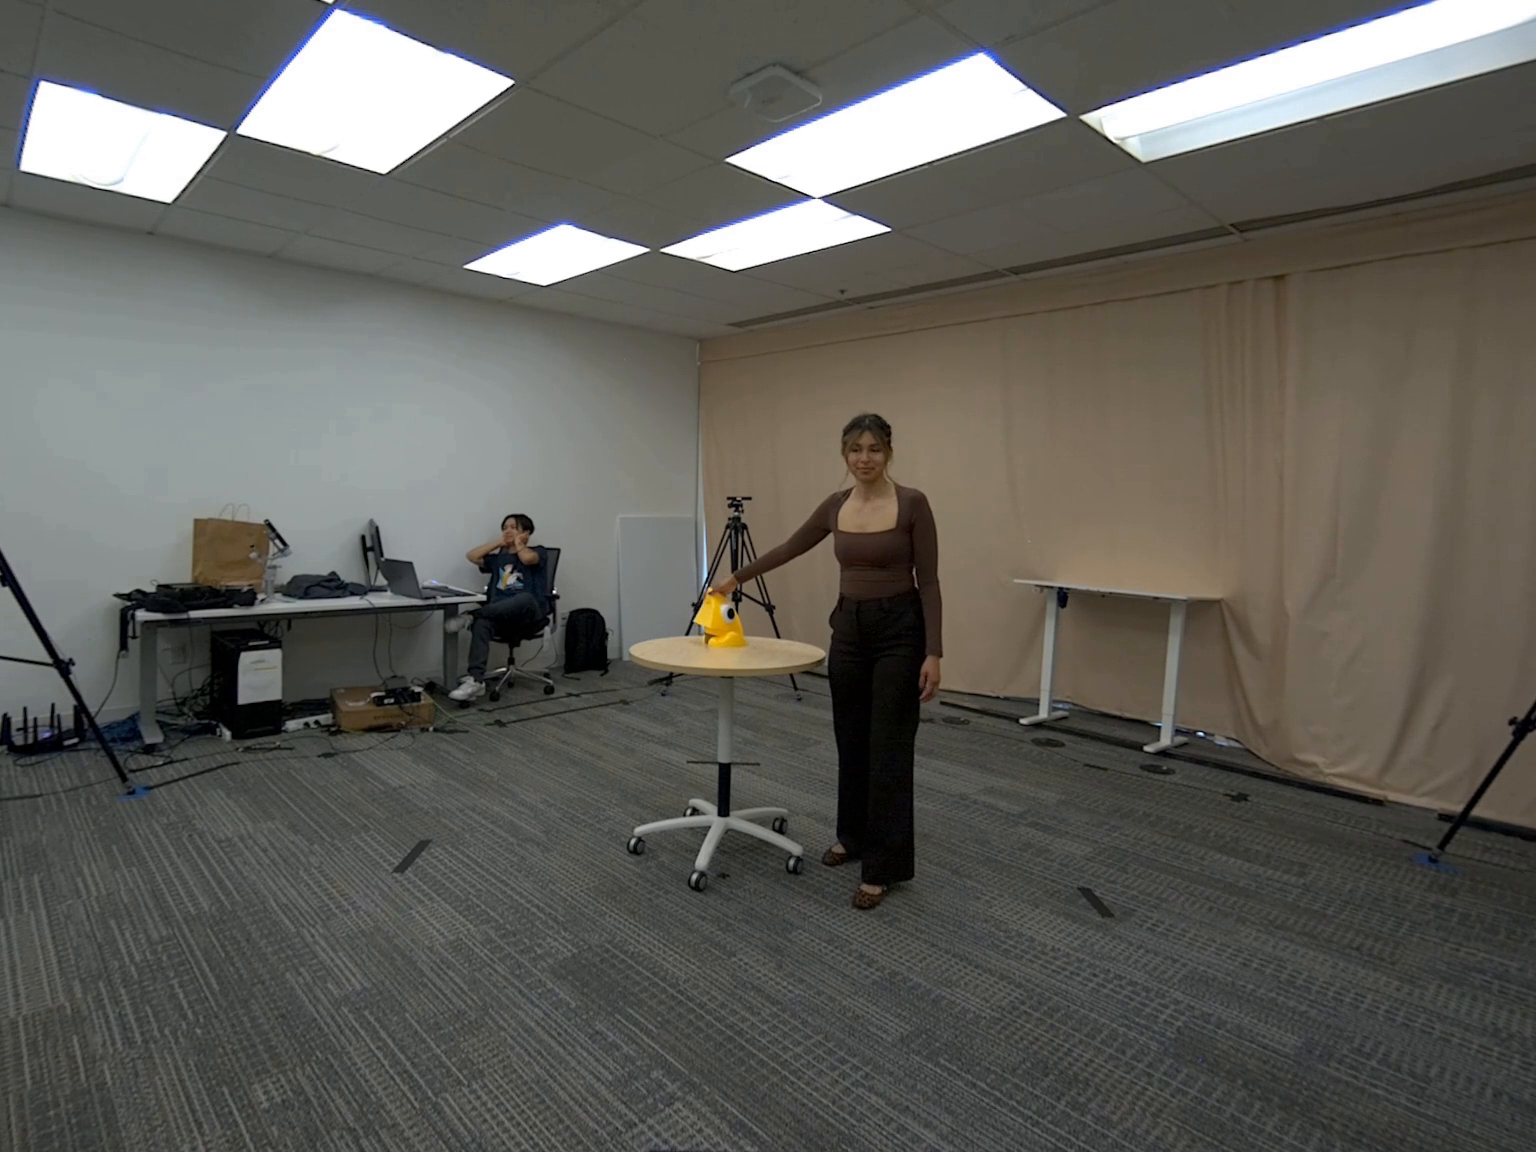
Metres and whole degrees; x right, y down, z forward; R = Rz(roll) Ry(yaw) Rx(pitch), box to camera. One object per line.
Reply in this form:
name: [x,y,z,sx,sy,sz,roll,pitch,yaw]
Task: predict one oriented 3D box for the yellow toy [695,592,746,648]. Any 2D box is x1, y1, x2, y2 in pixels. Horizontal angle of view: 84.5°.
yellow toy: [-0.197,0.163,3.468,0.190,0.230,0.208,-1,3,-23]
